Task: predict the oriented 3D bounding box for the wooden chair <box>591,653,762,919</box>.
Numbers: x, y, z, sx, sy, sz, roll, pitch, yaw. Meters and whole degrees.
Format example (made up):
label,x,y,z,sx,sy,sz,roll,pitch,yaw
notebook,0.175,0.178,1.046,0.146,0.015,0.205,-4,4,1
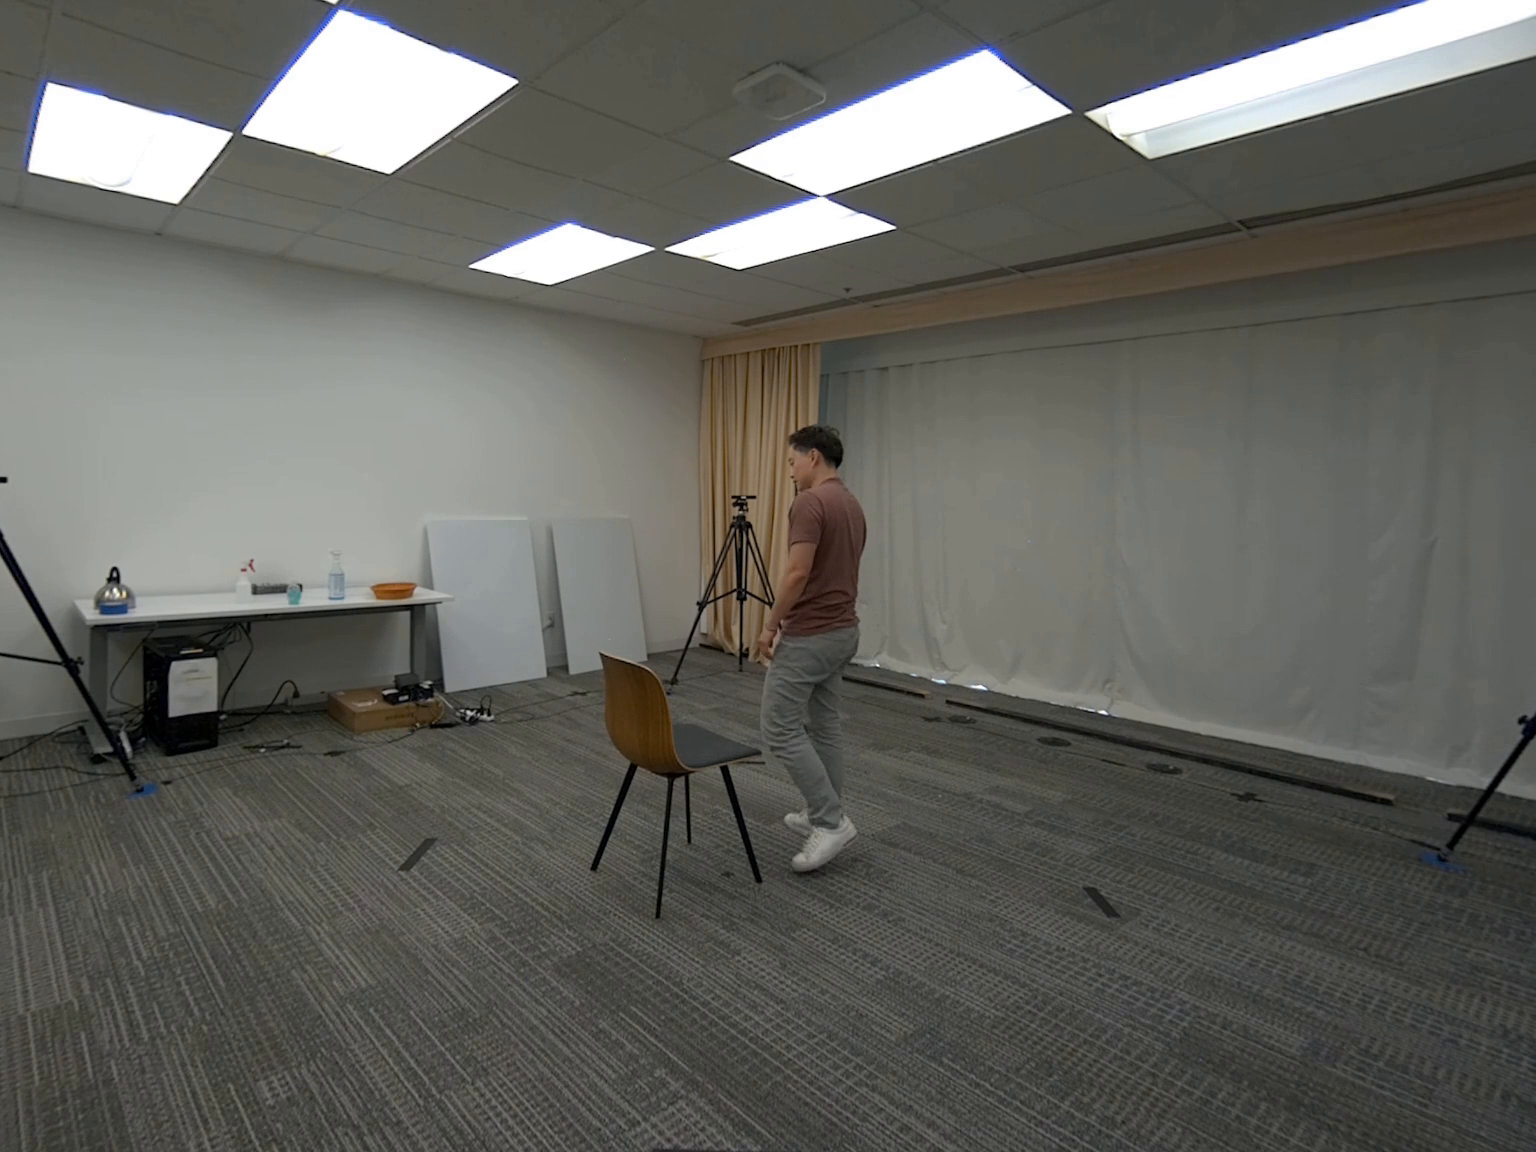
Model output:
label,x,y,z,sx,sy,sz,roll,pitch,yaw
wooden chair,-0.326,0.675,3.049,0.512,0.873,0.490,-7,7,-39
